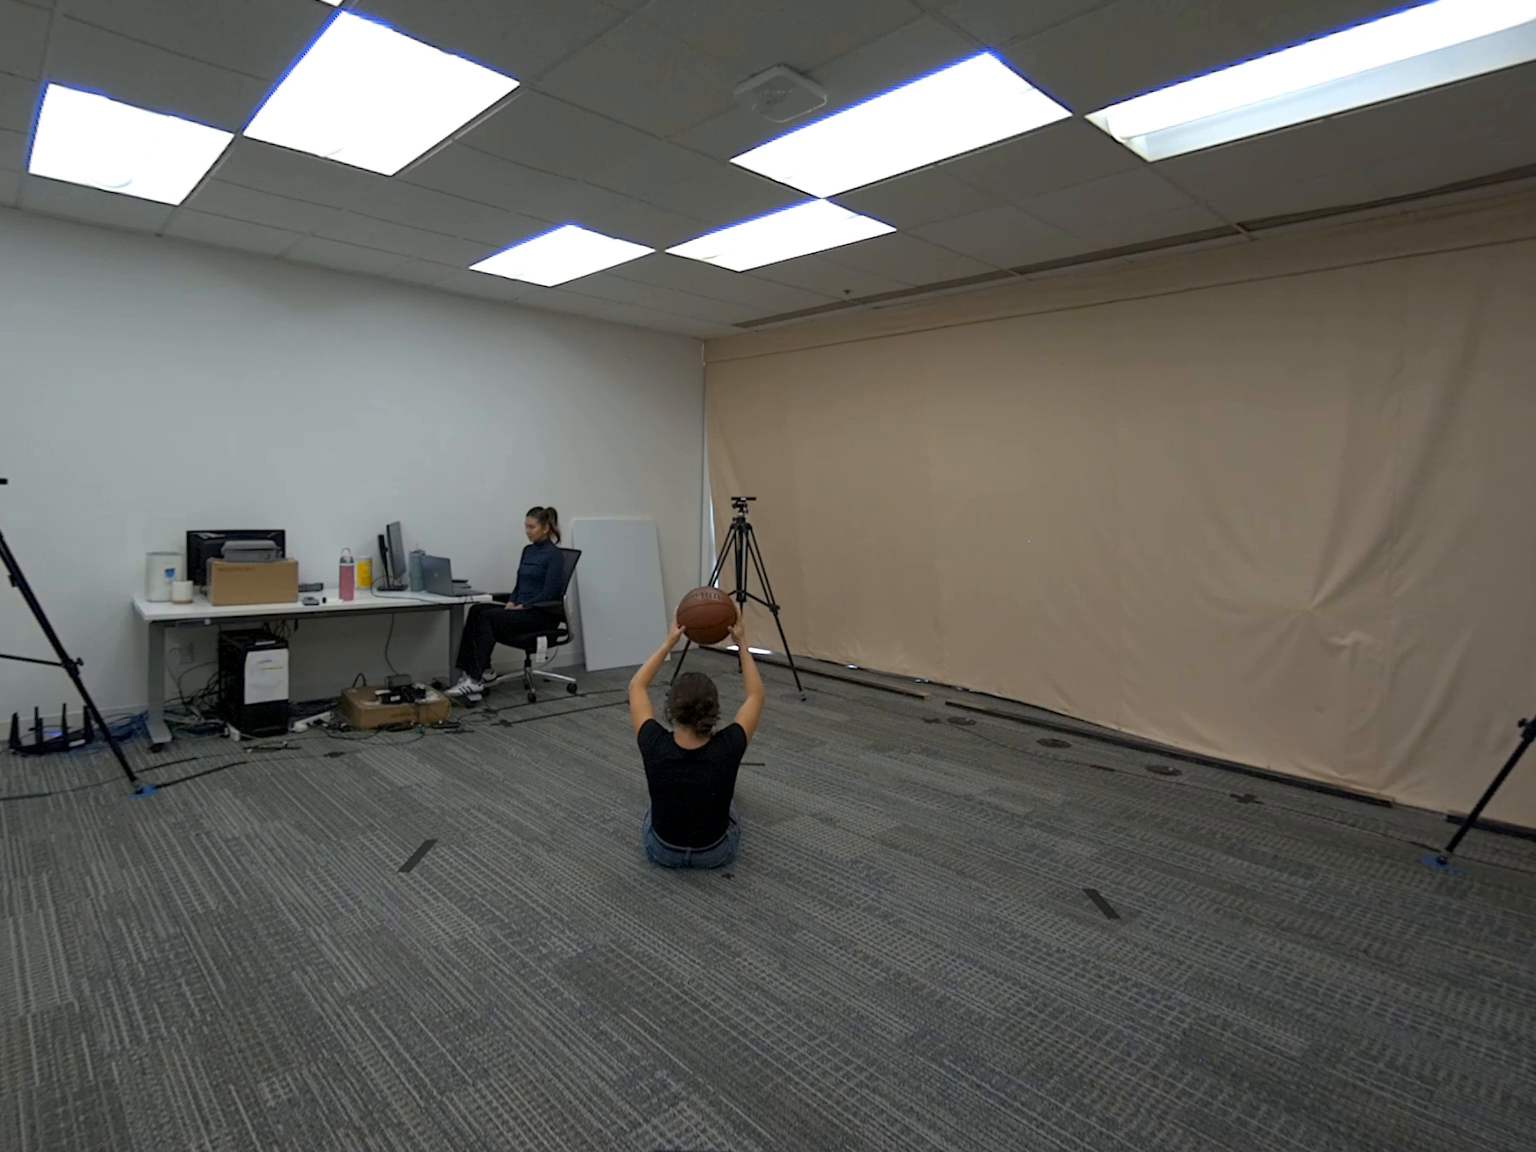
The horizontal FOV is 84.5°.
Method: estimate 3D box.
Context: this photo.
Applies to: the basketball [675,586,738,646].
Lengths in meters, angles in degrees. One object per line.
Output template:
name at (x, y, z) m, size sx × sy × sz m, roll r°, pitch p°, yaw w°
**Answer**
basketball at (-0.255, 0.162, 3.410) m, size 0.236 × 0.235 × 0.237 m, roll 1°, pitch 4°, yaw -1°
